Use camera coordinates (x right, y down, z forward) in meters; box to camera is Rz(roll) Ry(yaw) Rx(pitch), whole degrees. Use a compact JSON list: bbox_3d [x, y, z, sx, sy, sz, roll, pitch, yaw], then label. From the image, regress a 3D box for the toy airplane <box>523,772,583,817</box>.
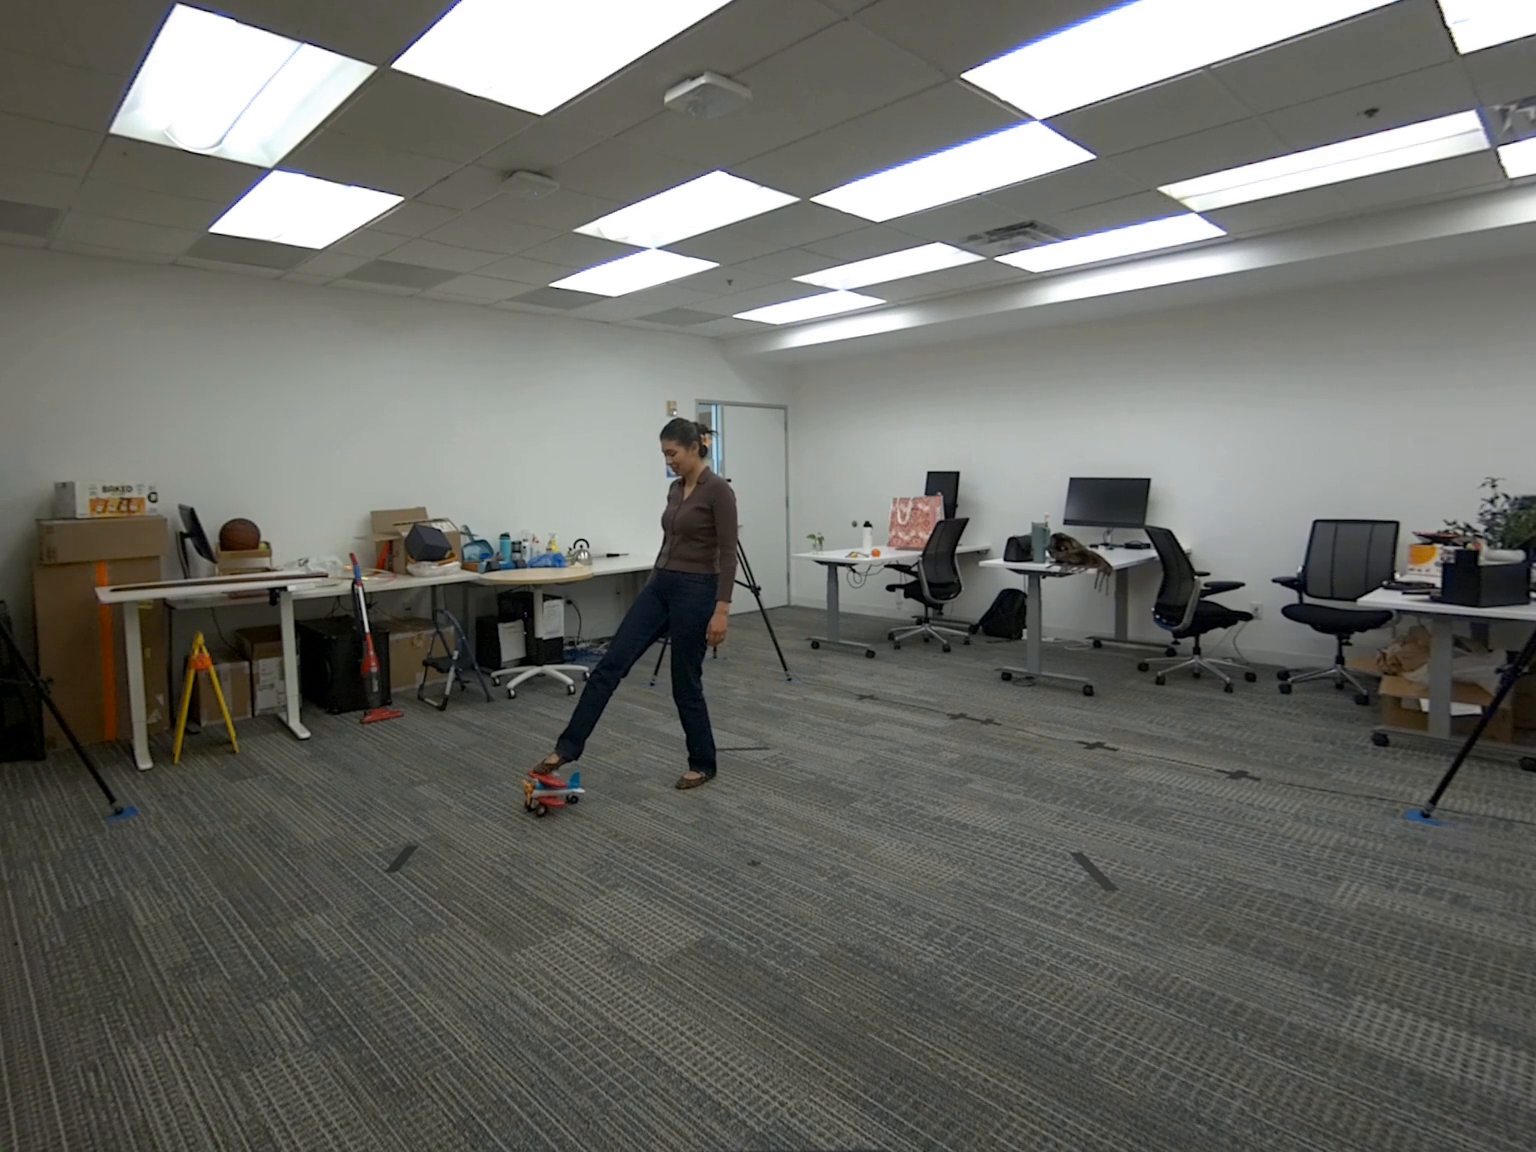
[{"bbox_3d":[-0.933,0.923,3.686,0.256,0.156,0.255,-1,6,20],"label":"toy airplane"}]
